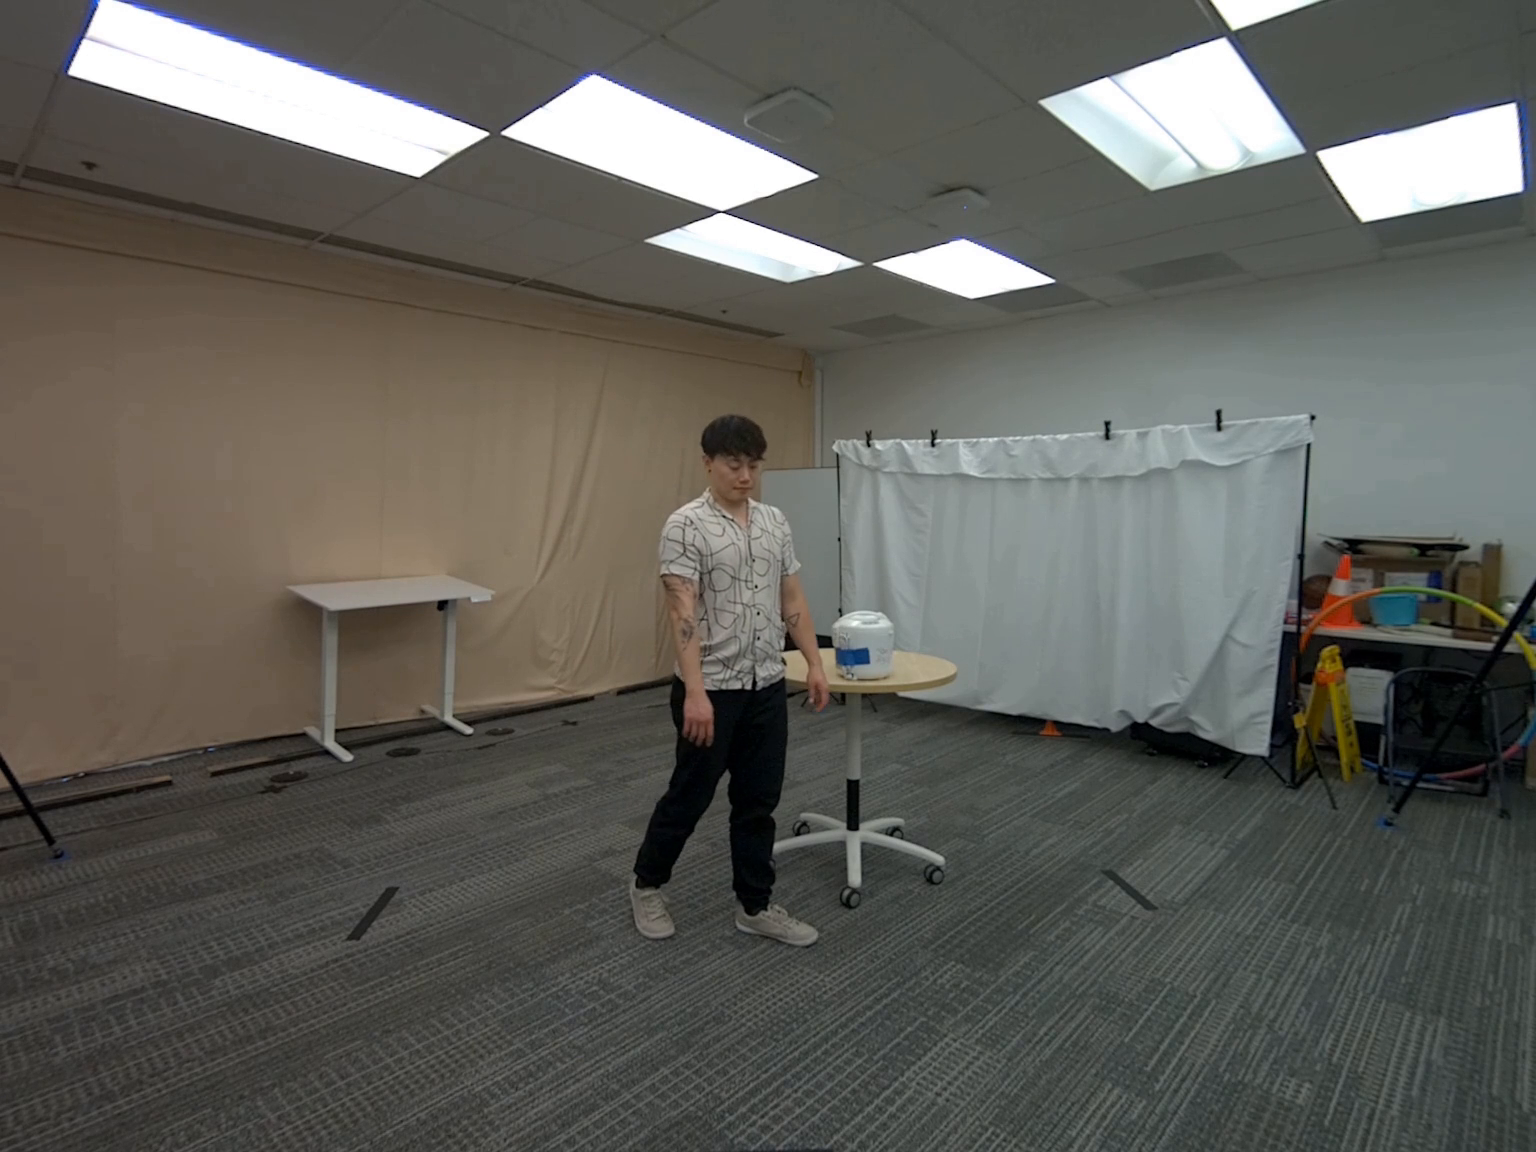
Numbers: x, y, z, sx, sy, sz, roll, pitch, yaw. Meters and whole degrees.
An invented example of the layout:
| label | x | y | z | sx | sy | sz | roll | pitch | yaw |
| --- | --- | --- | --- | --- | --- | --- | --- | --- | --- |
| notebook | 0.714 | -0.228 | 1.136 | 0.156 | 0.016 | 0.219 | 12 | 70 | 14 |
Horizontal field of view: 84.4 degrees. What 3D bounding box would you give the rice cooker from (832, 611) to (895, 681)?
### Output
| label | x | y | z | sx | sy | sz | roll | pitch | yaw |
| --- | --- | --- | --- | --- | --- | --- | --- | --- | --- |
| rice cooker | 0.343 | 0.239 | 3.008 | 0.220 | 0.232 | 0.219 | -1 | 4 | -5 |
